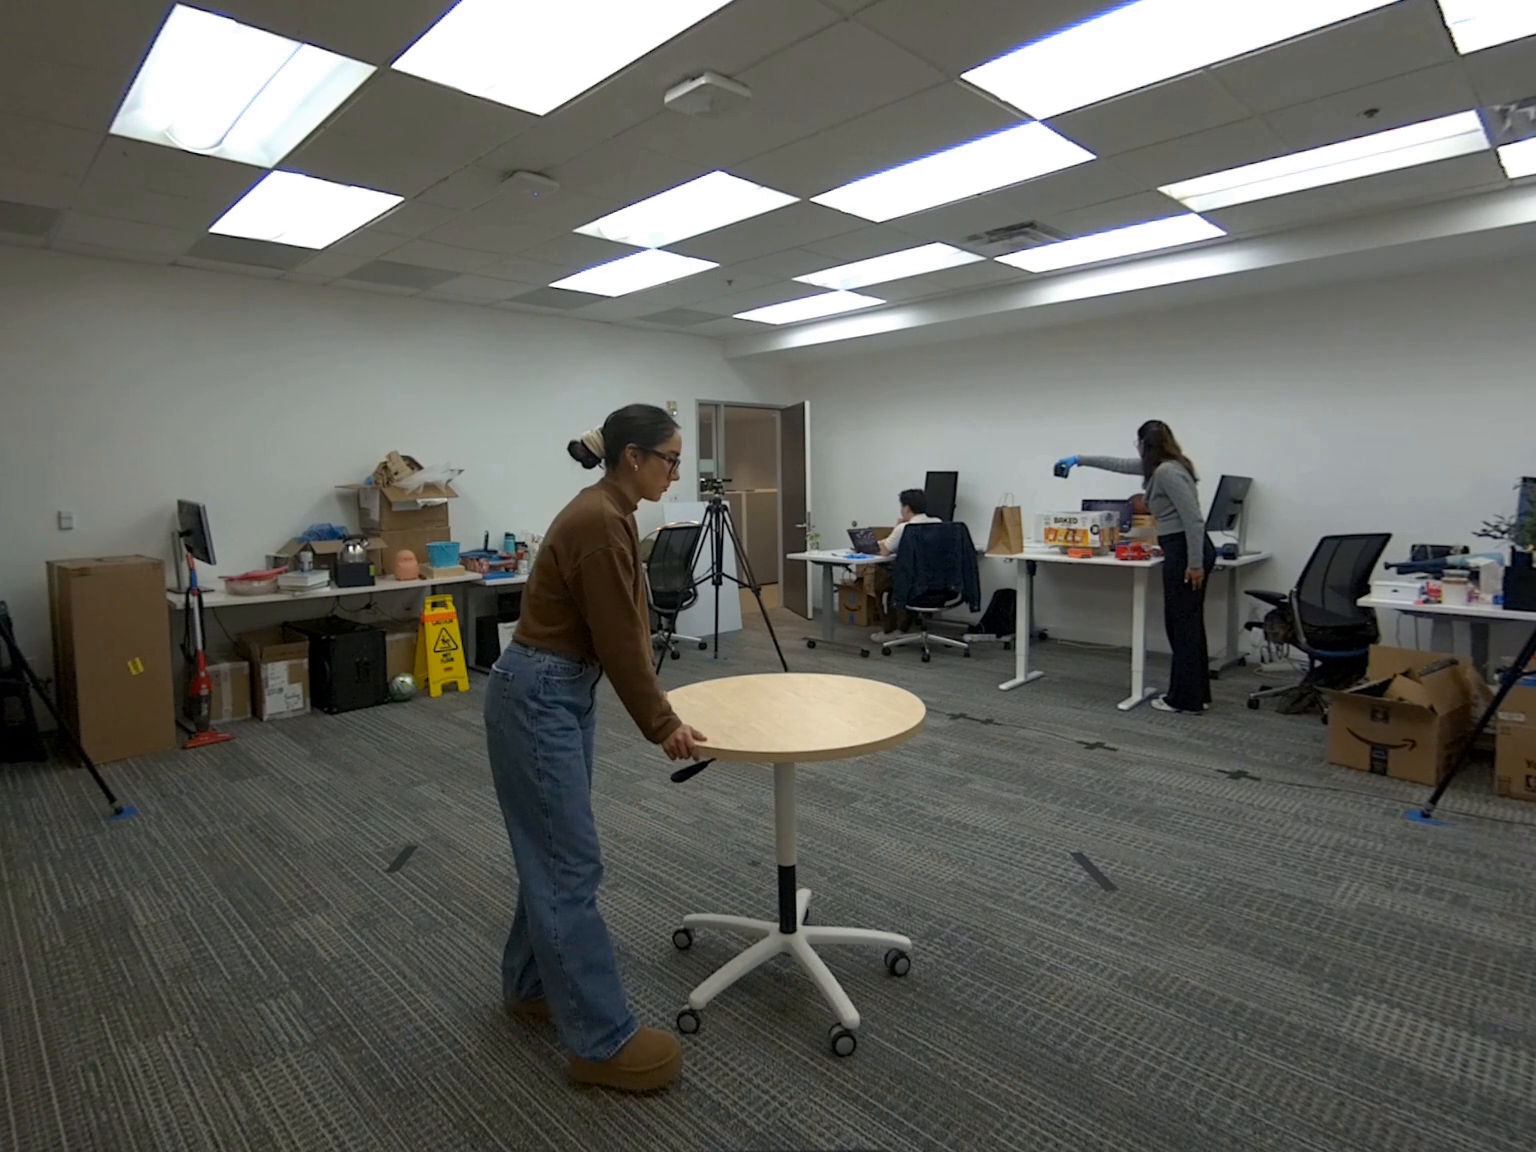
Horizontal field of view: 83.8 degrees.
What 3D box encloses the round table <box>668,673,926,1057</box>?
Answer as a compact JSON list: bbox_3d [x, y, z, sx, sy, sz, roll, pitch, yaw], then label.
[{"bbox_3d":[0.049,0.744,2.367,0.763,0.790,0.768,-2,5,-2],"label":"round table"}]
